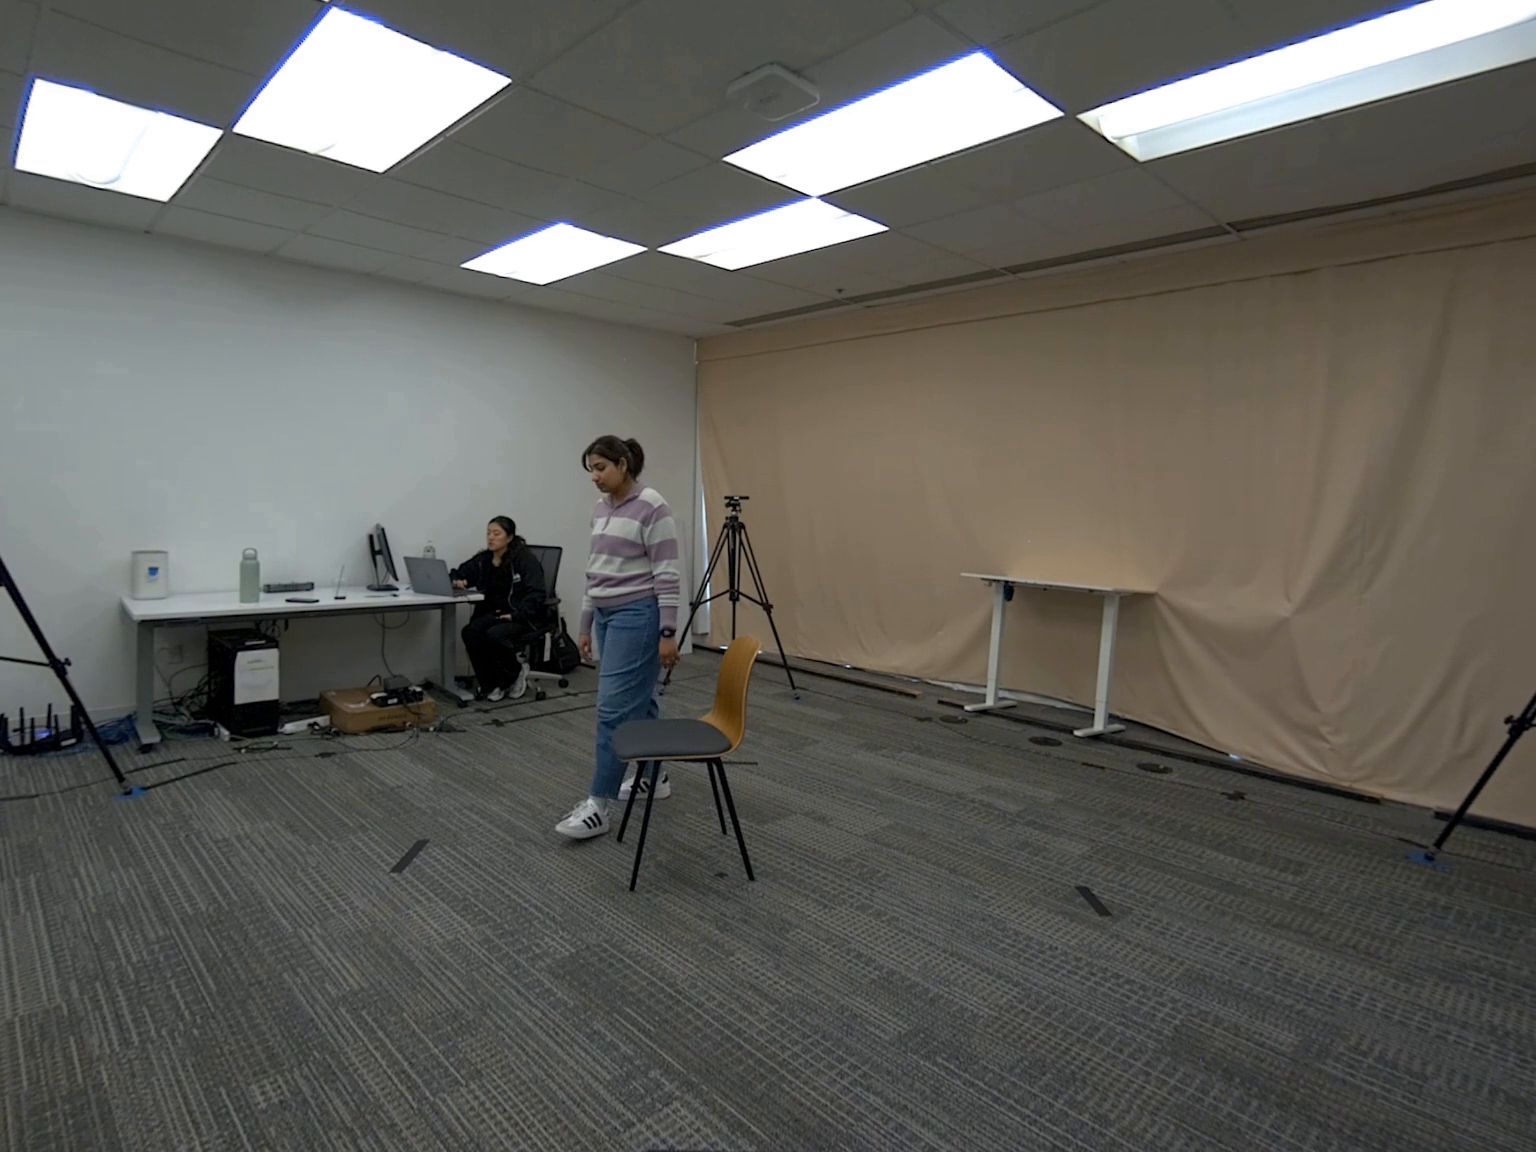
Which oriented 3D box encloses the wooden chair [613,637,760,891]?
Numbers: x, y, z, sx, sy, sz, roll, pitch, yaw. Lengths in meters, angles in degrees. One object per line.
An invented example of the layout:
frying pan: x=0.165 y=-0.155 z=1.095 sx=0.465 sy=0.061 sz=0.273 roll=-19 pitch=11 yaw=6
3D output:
wooden chair: x=-0.329 y=0.662 z=3.190 sx=0.516 sy=0.876 sz=0.485 roll=5 pitch=3 yaw=-16
